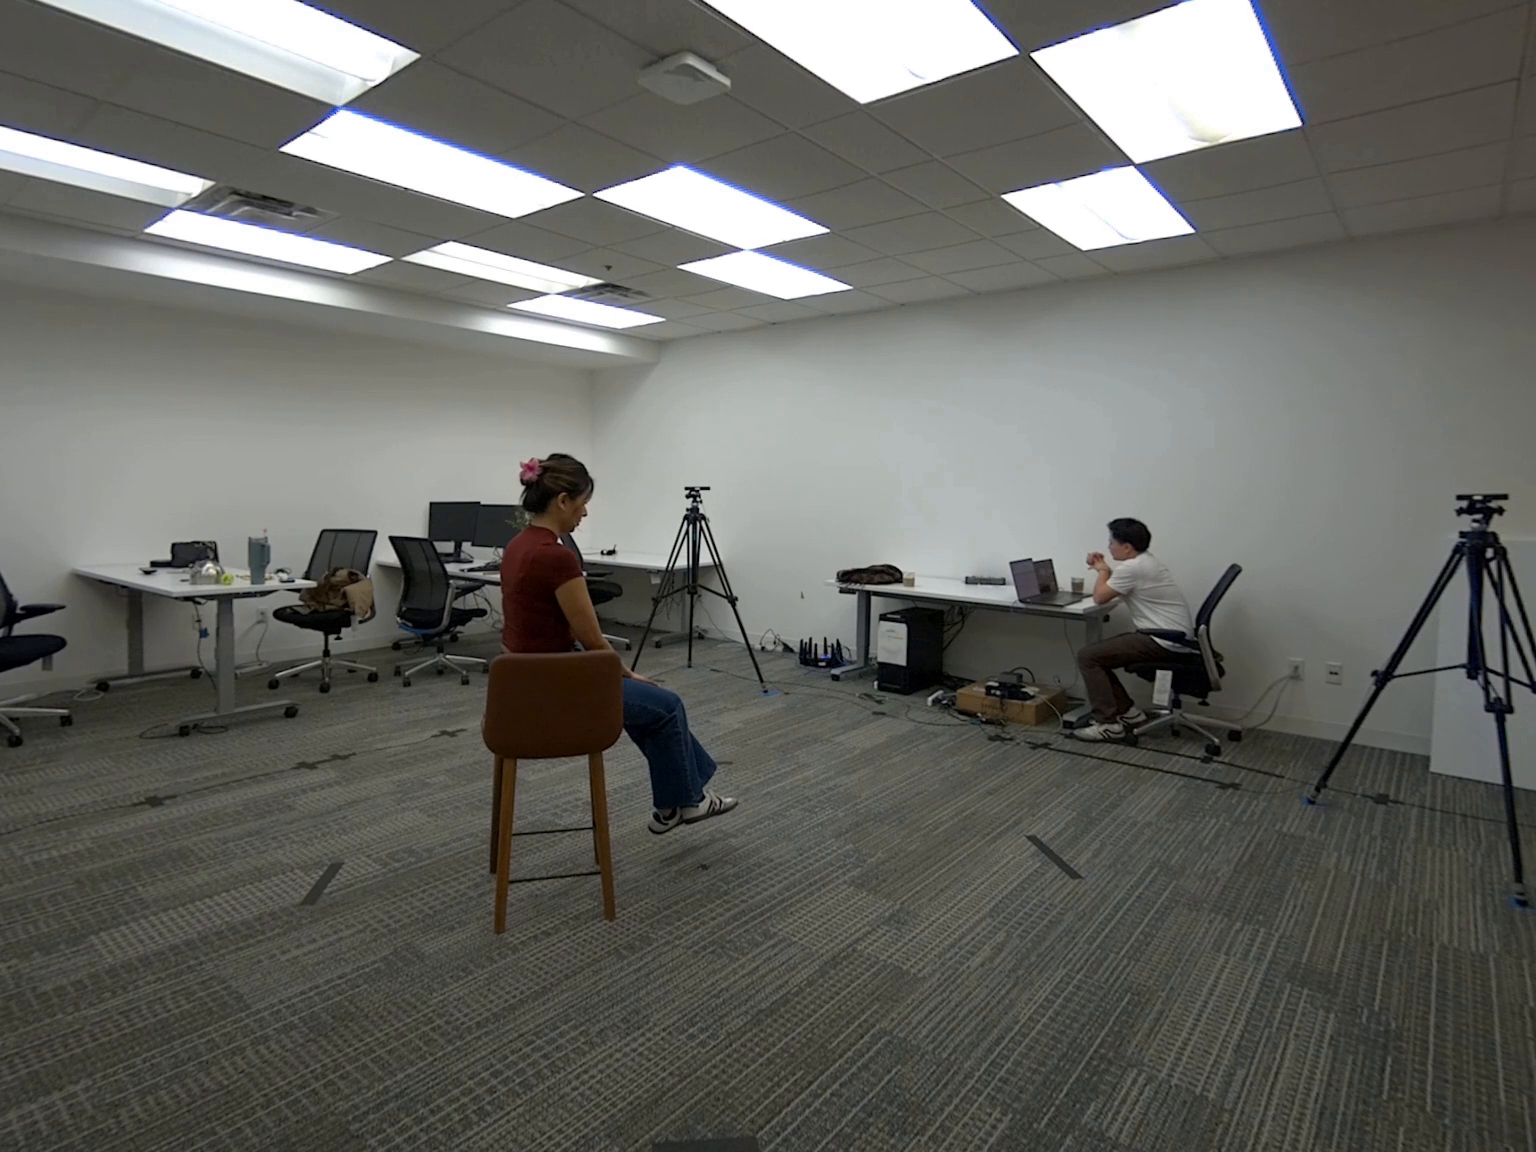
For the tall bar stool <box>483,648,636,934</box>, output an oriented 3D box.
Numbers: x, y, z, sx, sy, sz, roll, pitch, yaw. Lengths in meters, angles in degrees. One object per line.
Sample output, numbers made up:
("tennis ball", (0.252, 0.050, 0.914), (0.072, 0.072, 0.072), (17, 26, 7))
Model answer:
("tall bar stool", (-0.746, 0.652, 2.859), (0.448, 0.886, 0.478), (-1, 5, -18))
